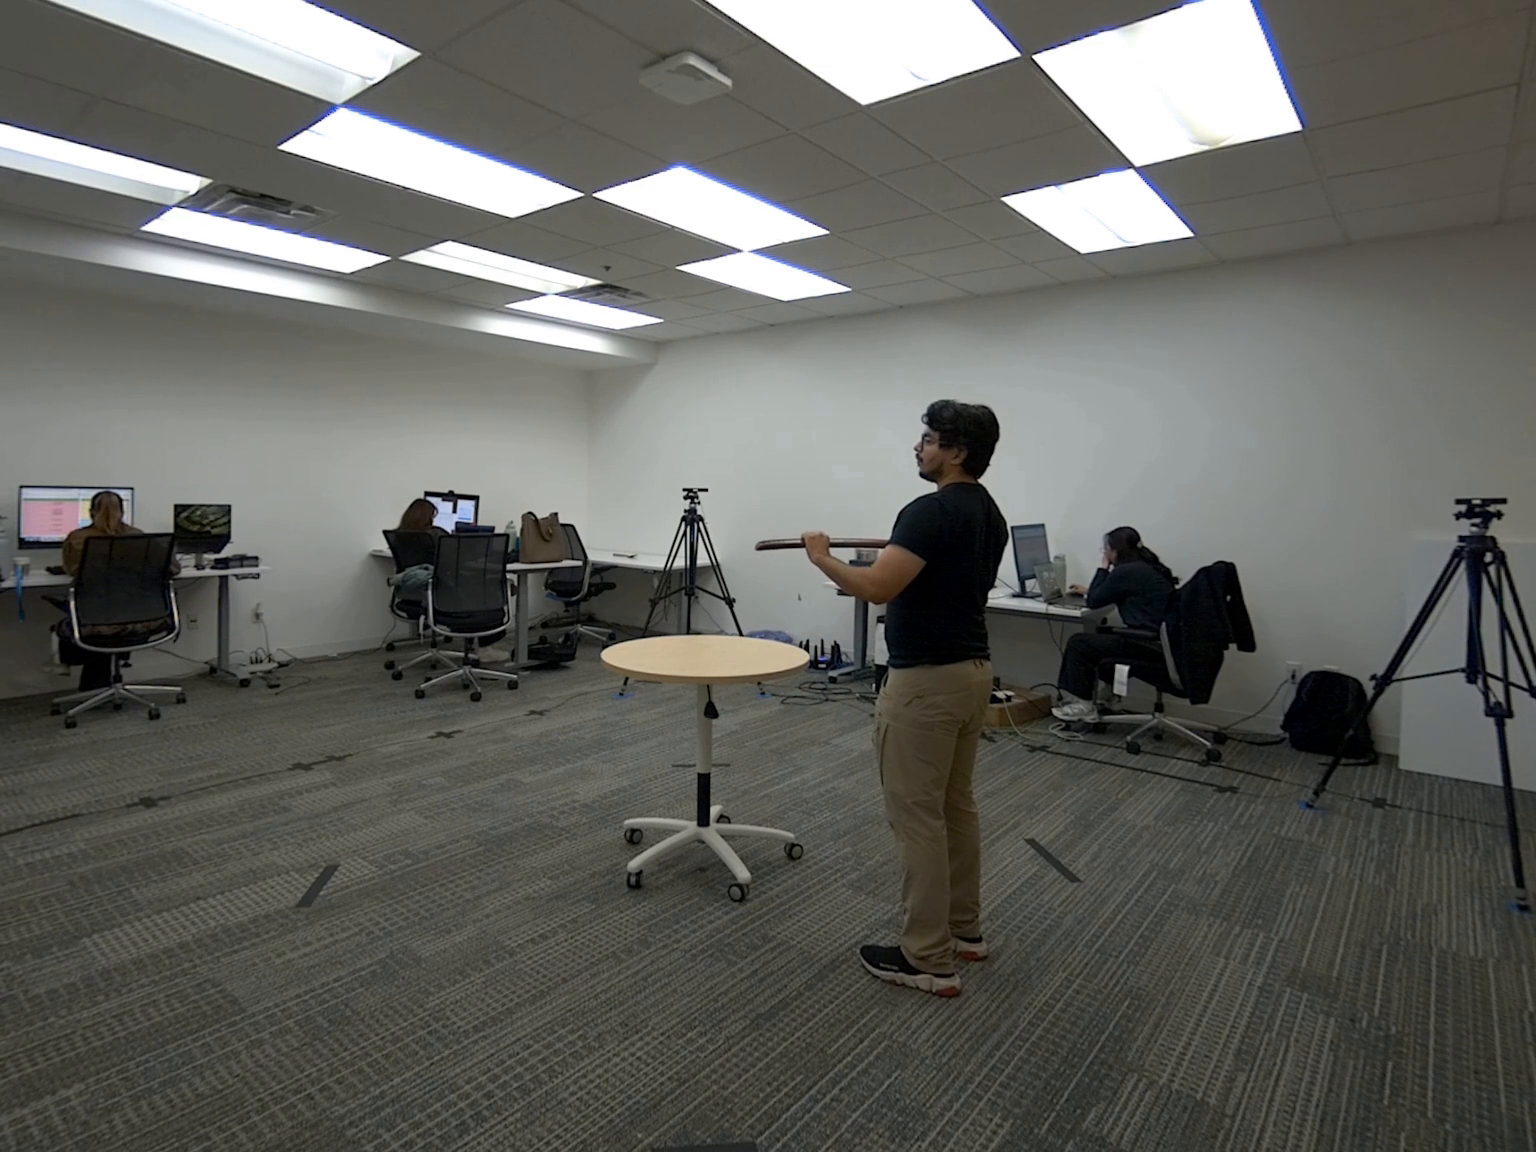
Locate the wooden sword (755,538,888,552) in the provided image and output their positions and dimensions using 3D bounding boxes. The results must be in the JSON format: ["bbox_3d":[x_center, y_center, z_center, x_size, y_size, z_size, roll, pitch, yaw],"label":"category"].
[{"bbox_3d":[0.251,-0.112,2.801,0.053,0.024,0.992,10,7,40],"label":"wooden sword"}]
